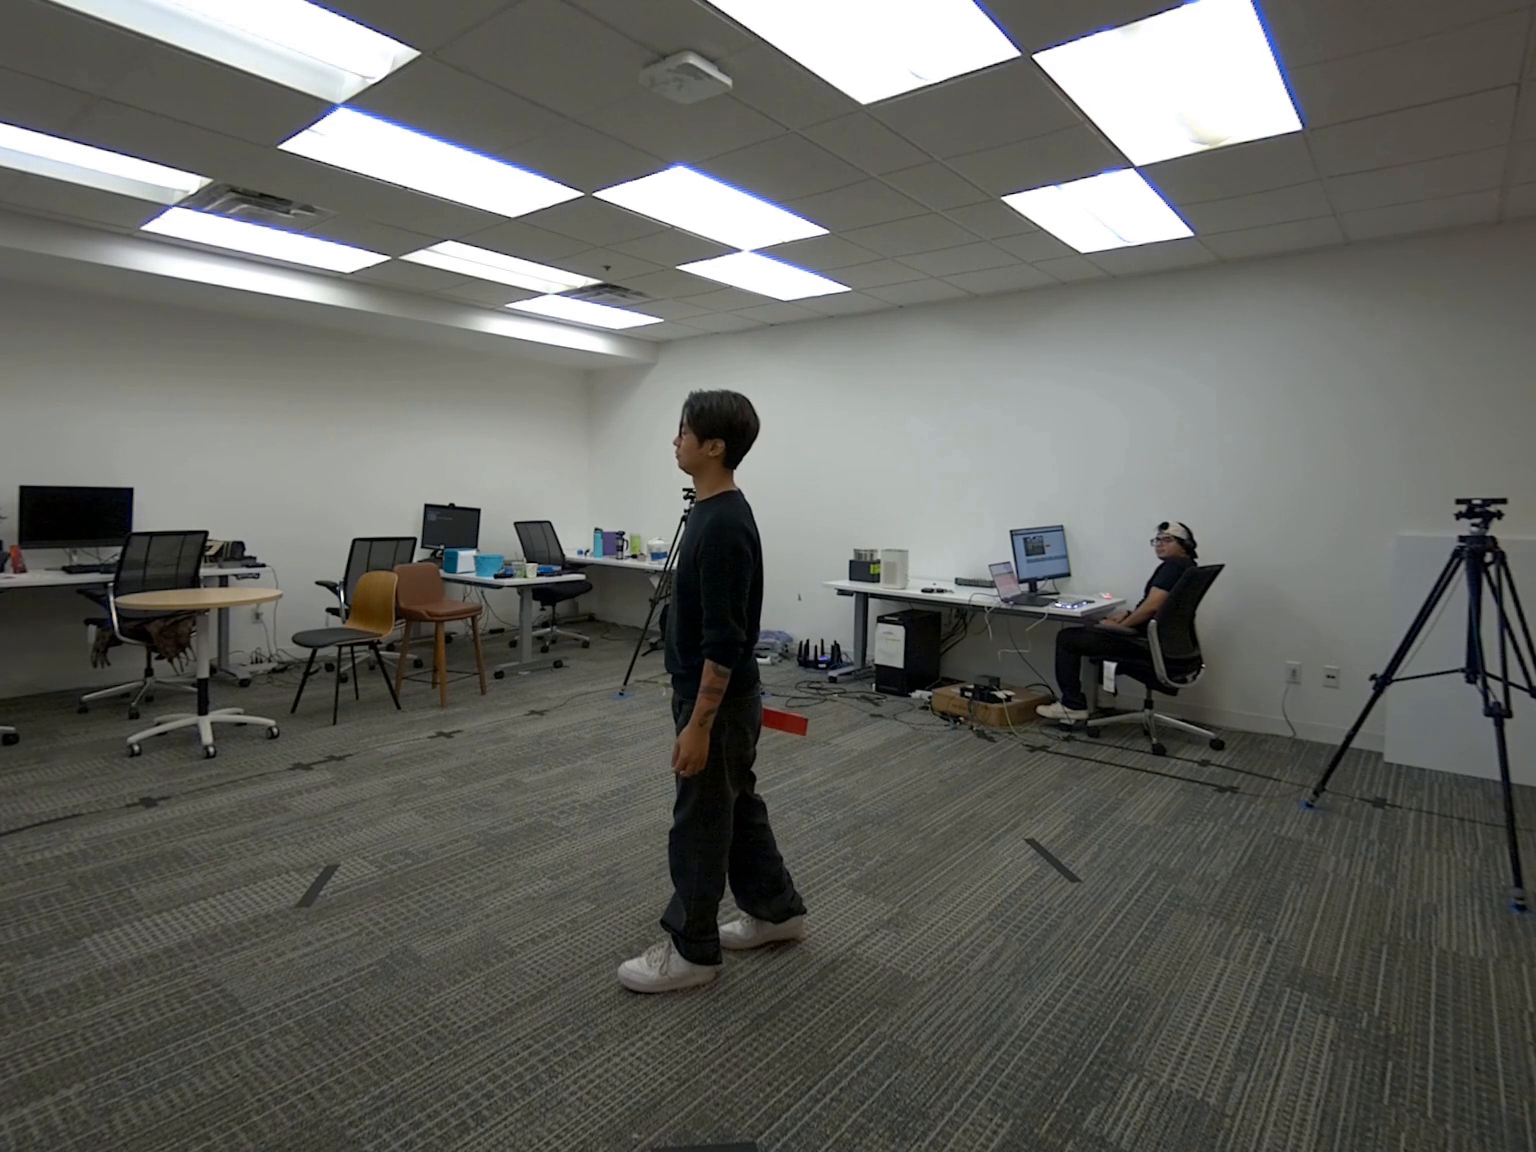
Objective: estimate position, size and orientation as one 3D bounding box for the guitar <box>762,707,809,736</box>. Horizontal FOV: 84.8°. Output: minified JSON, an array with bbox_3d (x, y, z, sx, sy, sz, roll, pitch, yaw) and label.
[{"bbox_3d":[-0.110,0.431,2.780,0.499,0.071,0.191,12,-8,2],"label":"guitar"}]
